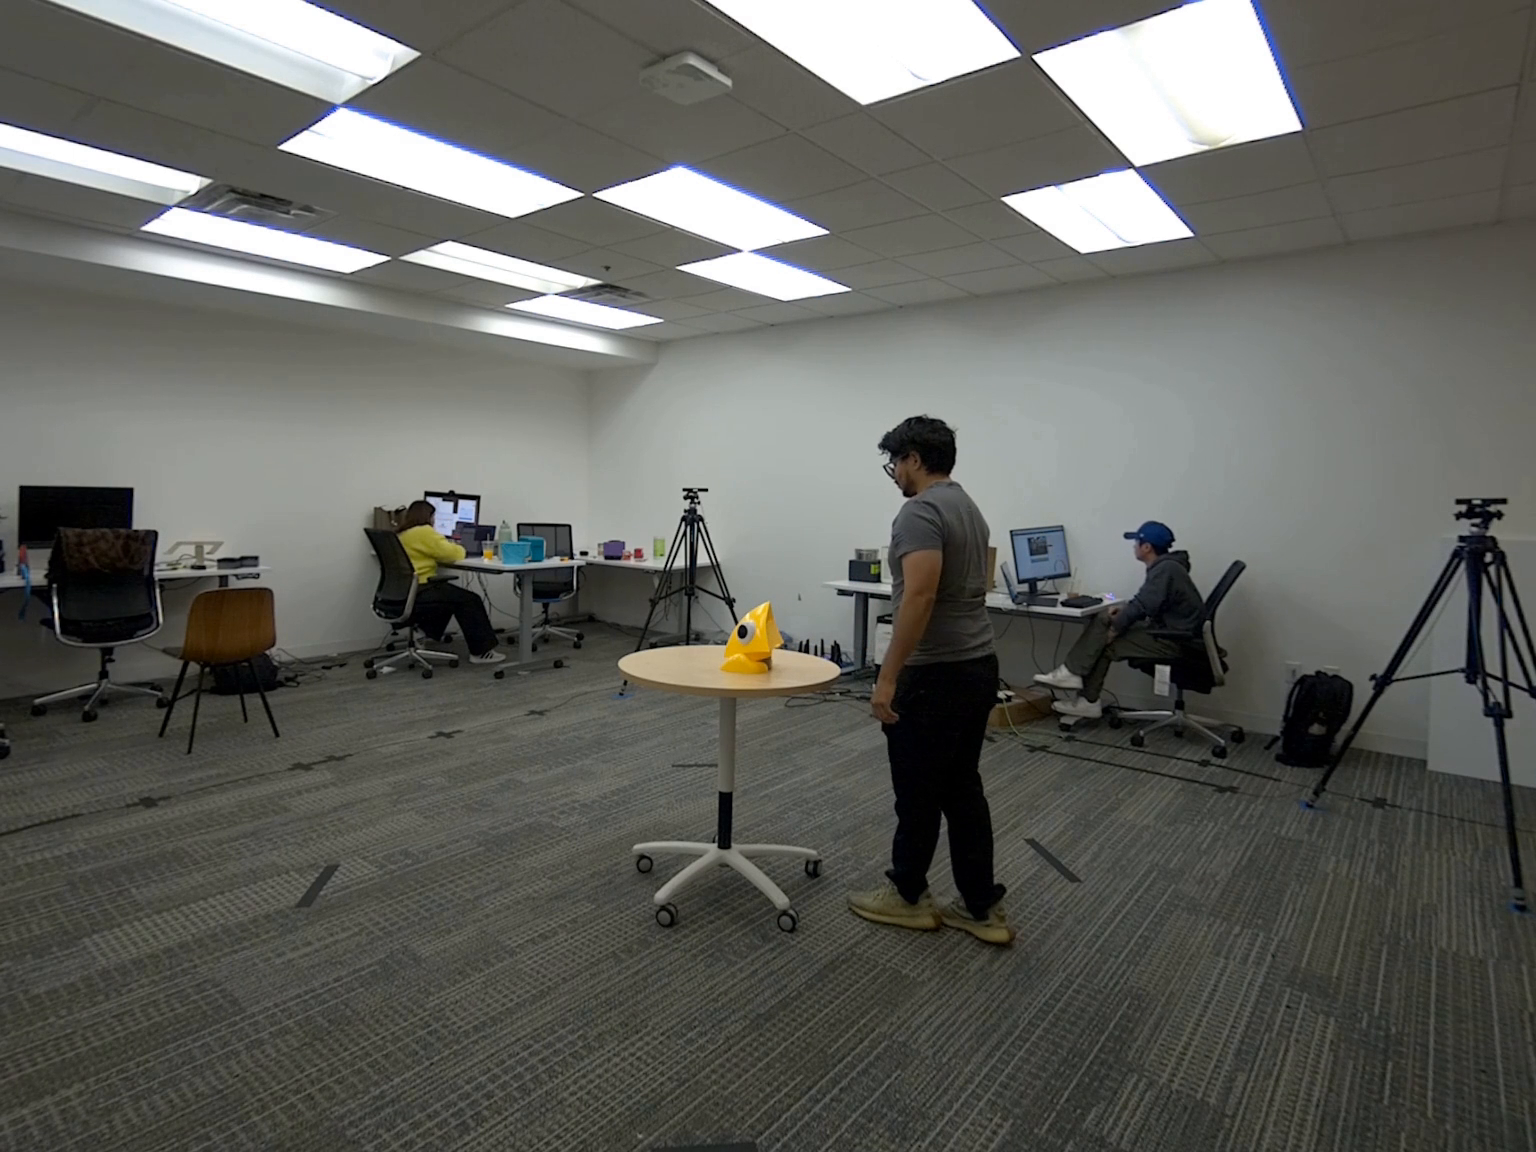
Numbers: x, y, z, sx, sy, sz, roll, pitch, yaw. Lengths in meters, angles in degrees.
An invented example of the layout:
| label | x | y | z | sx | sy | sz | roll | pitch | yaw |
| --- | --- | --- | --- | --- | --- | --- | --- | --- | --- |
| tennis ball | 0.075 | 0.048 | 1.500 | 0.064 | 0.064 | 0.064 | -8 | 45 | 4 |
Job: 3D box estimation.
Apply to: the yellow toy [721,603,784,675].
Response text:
| label | x | y | z | sx | sy | sz | roll | pitch | yaw |
| --- | --- | --- | --- | --- | --- | --- | --- | --- | --- |
| yellow toy | -0.065 | 0.196 | 2.902 | 0.196 | 0.230 | 0.201 | 2 | 3 | 16 |
